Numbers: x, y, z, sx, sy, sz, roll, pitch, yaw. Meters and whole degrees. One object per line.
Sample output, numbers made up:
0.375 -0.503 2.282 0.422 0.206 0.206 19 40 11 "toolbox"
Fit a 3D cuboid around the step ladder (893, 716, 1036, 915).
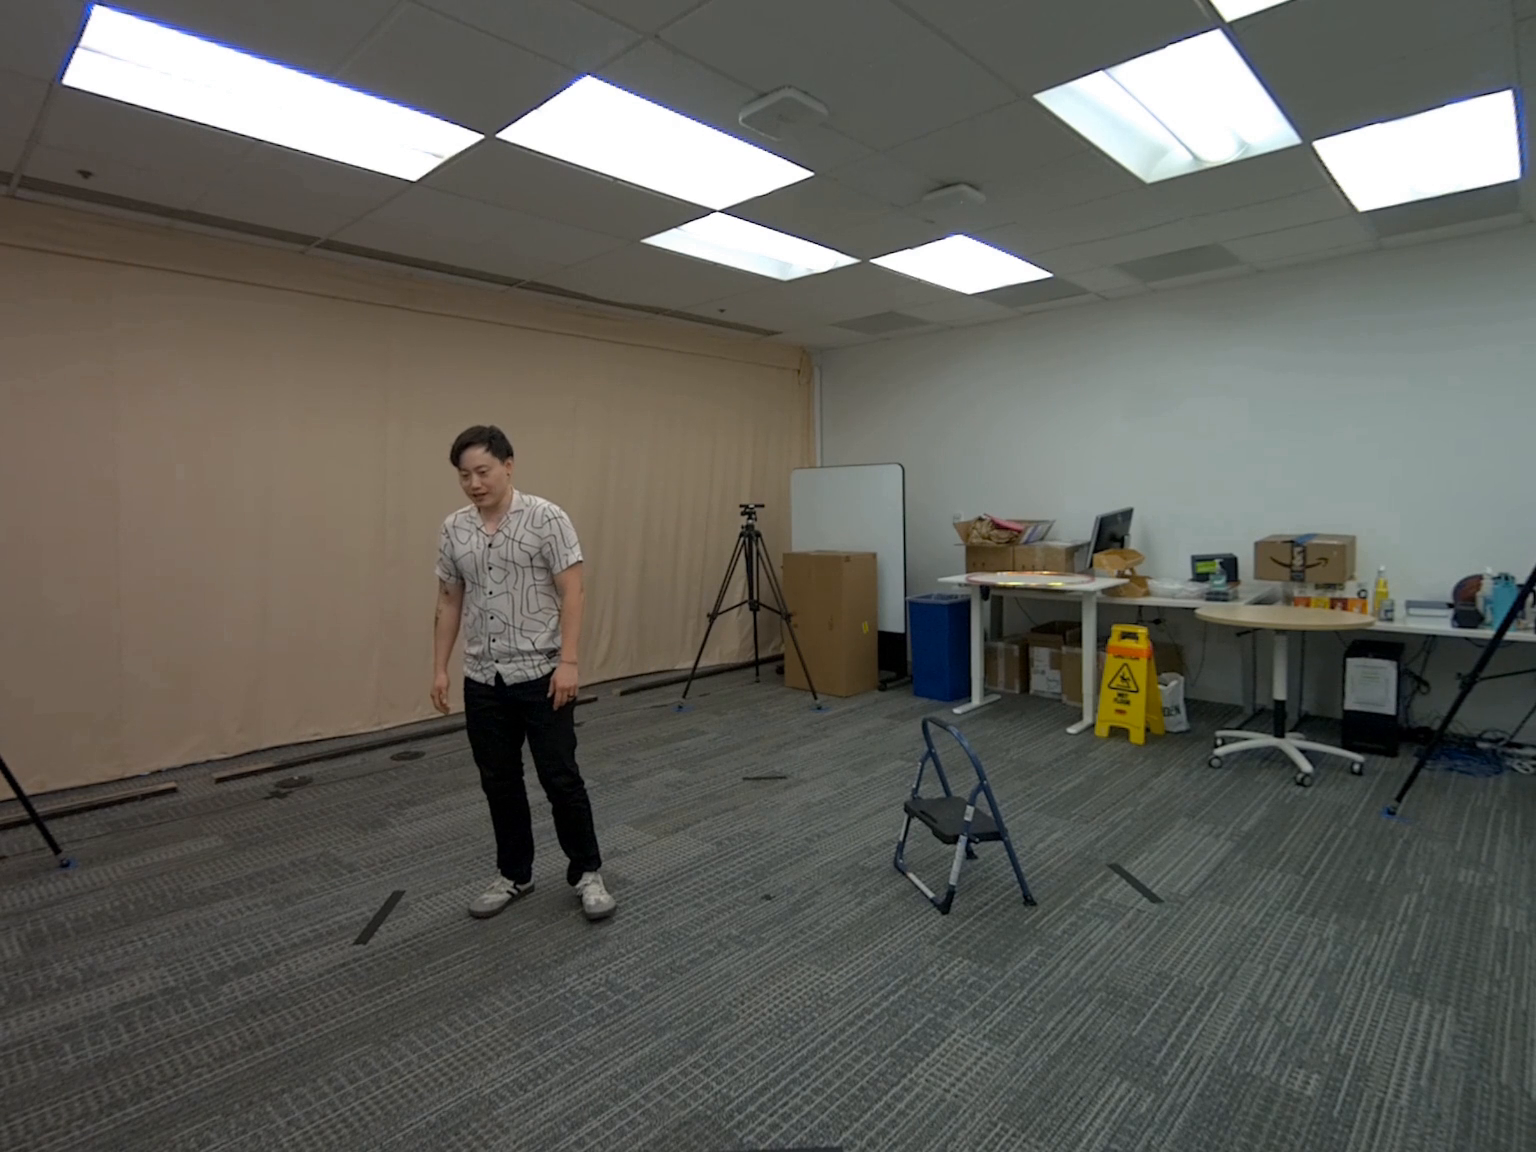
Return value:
0.699 0.820 3.048 0.344 0.605 0.438 -2 3 -15 "step ladder"
